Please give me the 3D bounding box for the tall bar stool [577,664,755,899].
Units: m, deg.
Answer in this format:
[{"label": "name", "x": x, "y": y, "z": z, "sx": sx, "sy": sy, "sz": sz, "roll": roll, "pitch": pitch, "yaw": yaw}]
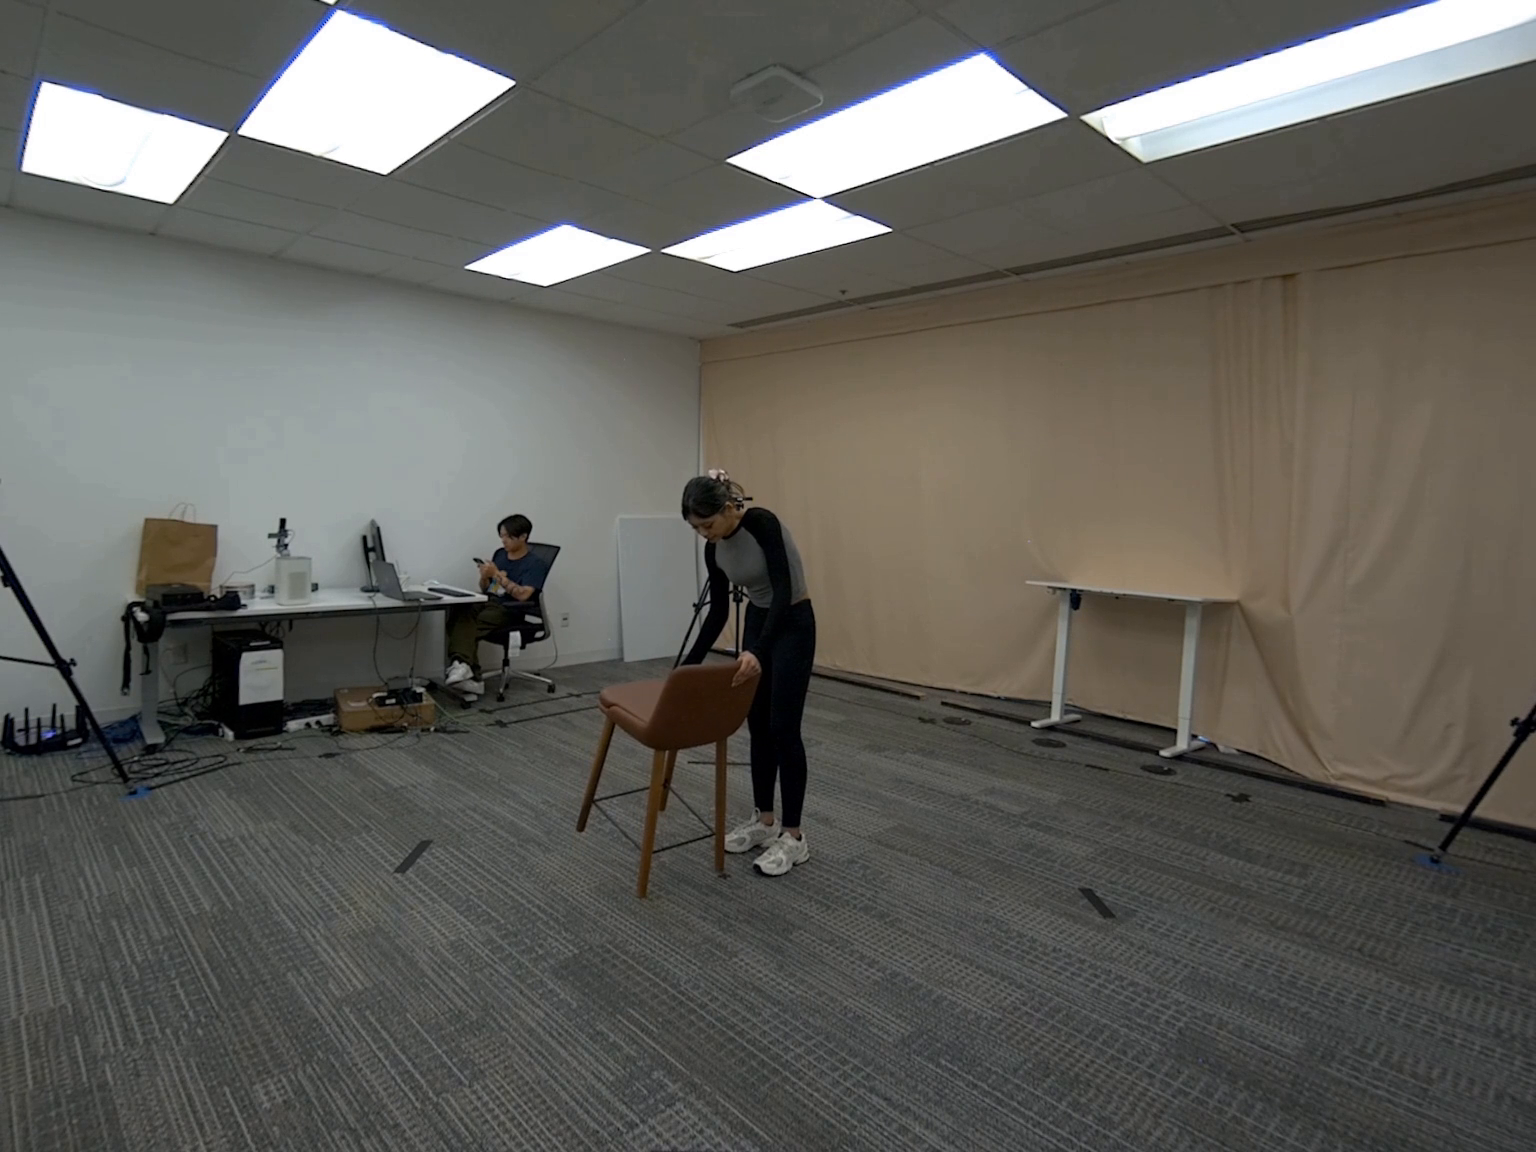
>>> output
[{"label": "tall bar stool", "x": -0.373, "y": 0.629, "z": 3.083, "sx": 0.446, "sy": 0.882, "sz": 0.482, "roll": -1, "pitch": 20, "yaw": -40}]
